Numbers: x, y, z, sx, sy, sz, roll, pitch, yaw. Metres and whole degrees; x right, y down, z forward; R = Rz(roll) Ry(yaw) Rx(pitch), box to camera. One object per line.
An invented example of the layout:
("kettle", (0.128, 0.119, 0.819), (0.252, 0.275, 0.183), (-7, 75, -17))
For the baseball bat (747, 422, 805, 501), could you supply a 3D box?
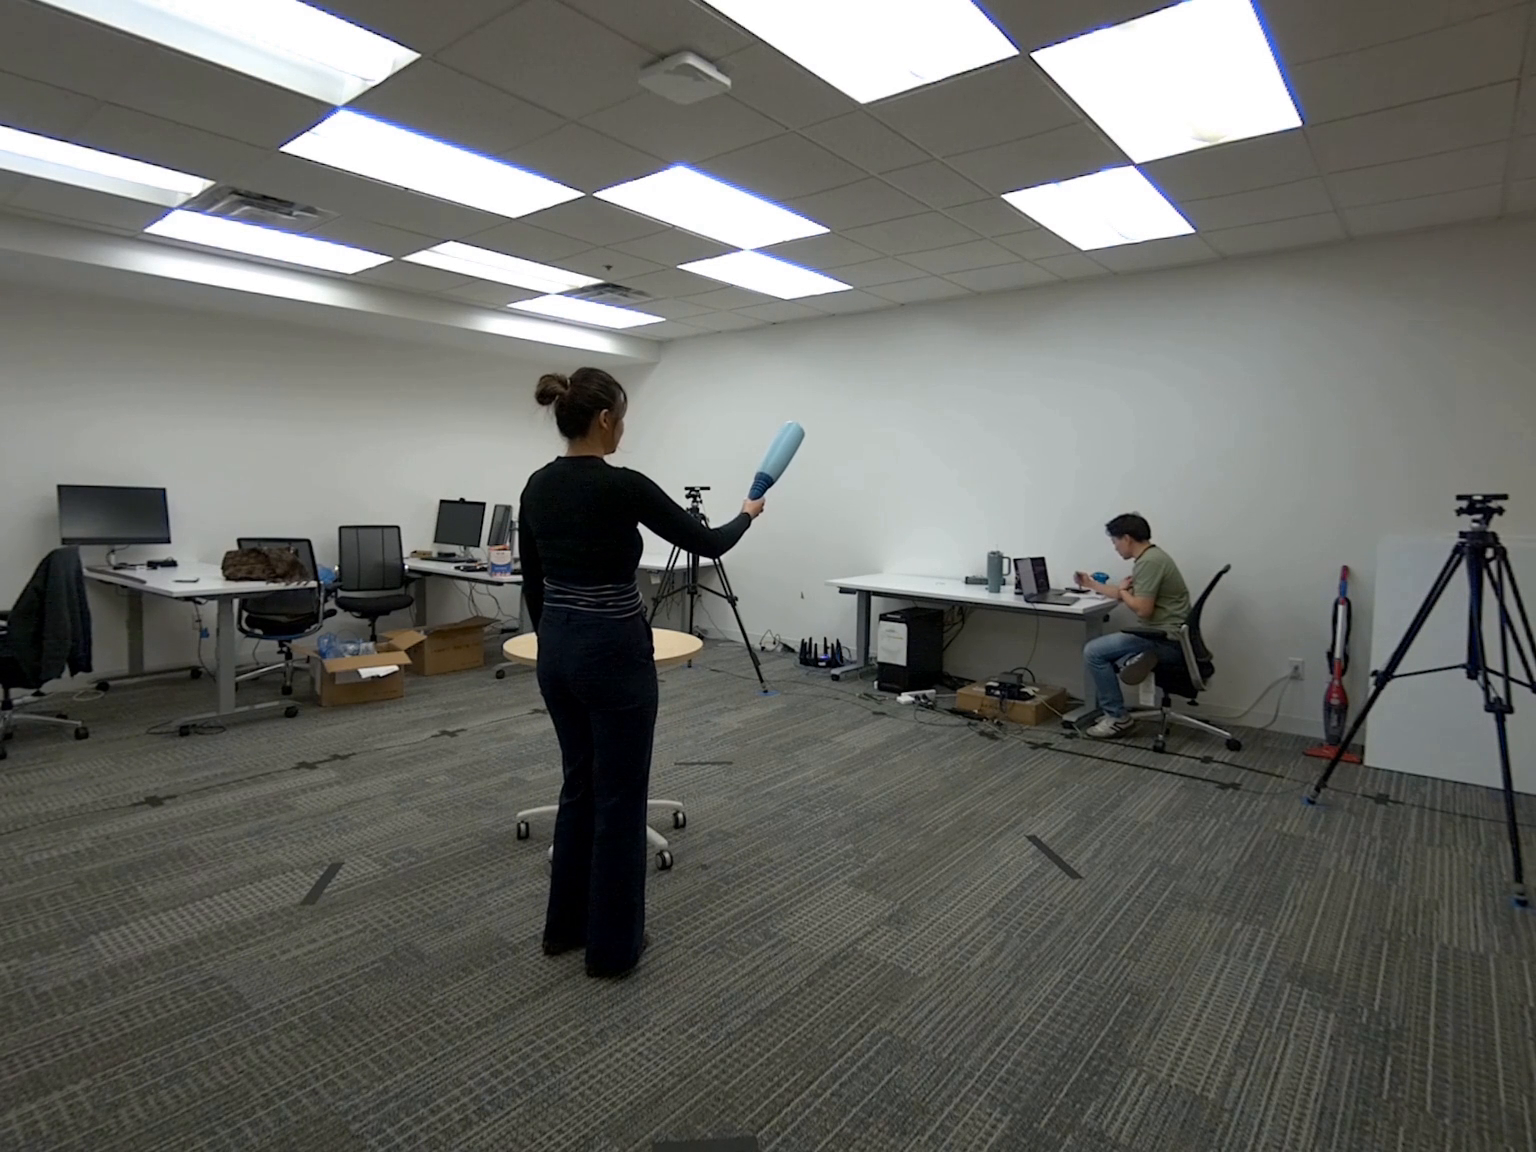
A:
("baseball bat", (-0.027, -0.306, 2.804), (0.091, 0.546, 0.087), (23, -30, 13))
